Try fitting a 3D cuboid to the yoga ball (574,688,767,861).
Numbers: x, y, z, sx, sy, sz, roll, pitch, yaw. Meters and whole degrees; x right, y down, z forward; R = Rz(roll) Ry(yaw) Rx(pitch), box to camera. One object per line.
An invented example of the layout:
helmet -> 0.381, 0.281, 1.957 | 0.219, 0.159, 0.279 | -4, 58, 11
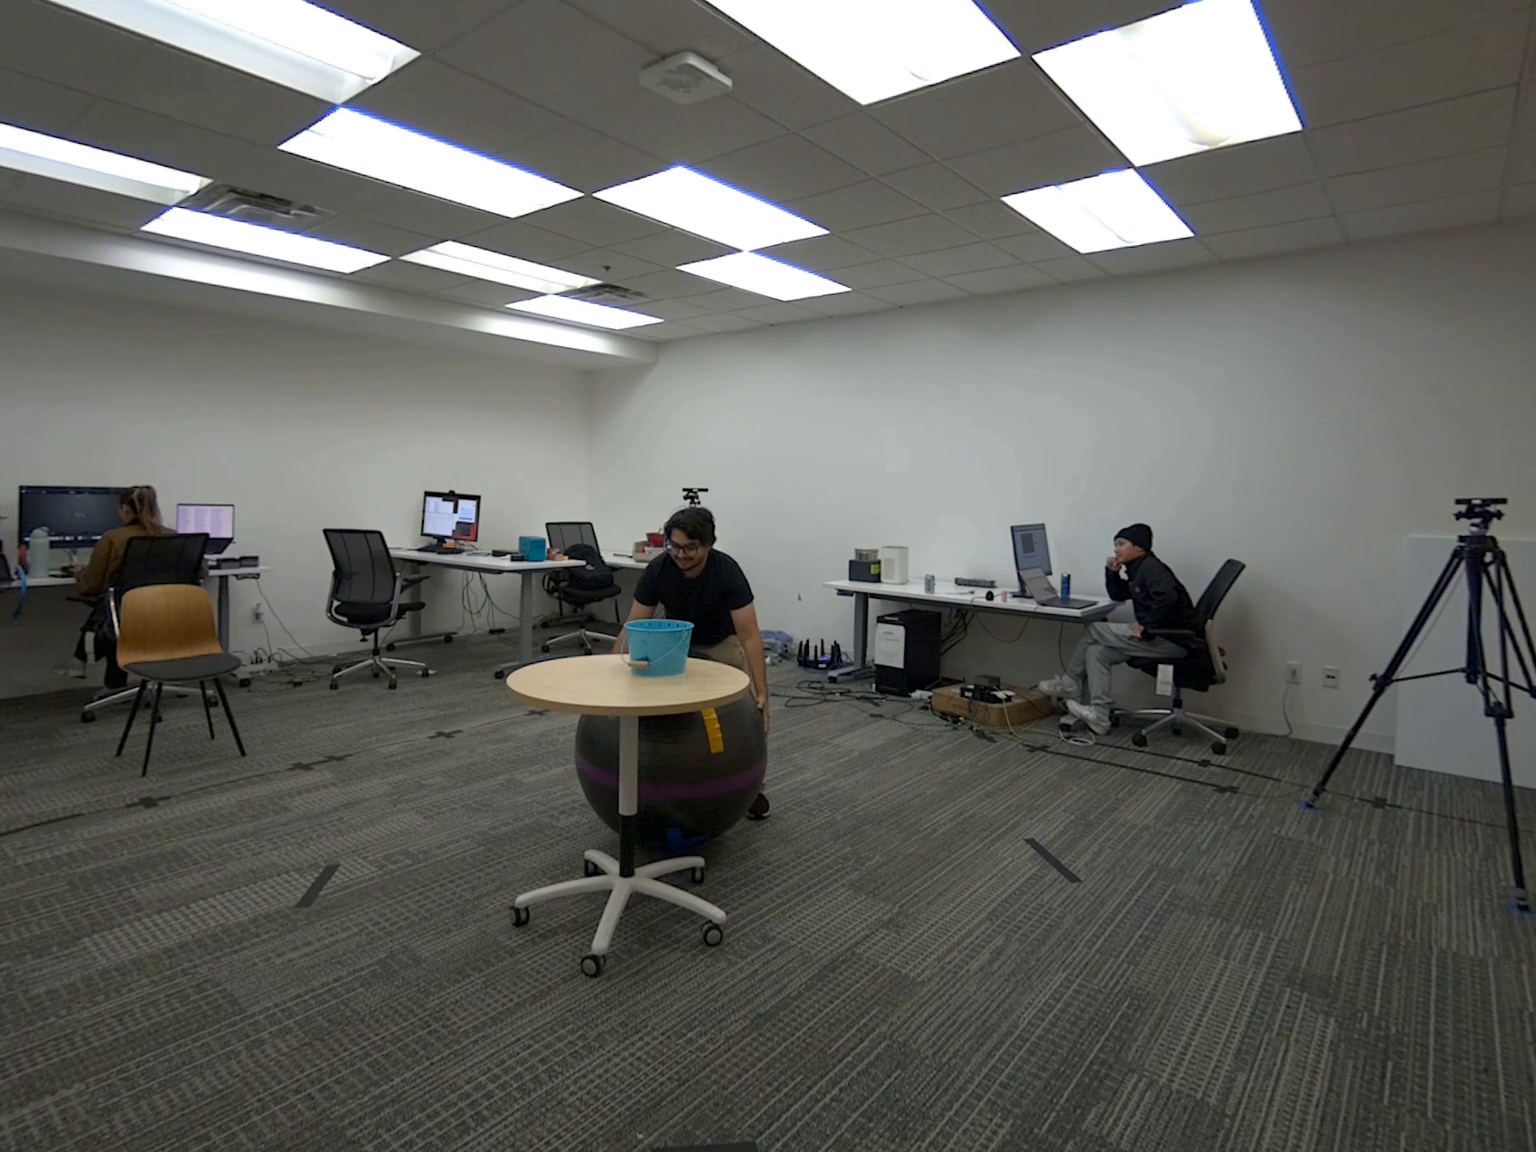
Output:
yoga ball -> -0.383, 0.670, 3.330 | 0.757, 0.755, 0.762 | 1, 4, -2
